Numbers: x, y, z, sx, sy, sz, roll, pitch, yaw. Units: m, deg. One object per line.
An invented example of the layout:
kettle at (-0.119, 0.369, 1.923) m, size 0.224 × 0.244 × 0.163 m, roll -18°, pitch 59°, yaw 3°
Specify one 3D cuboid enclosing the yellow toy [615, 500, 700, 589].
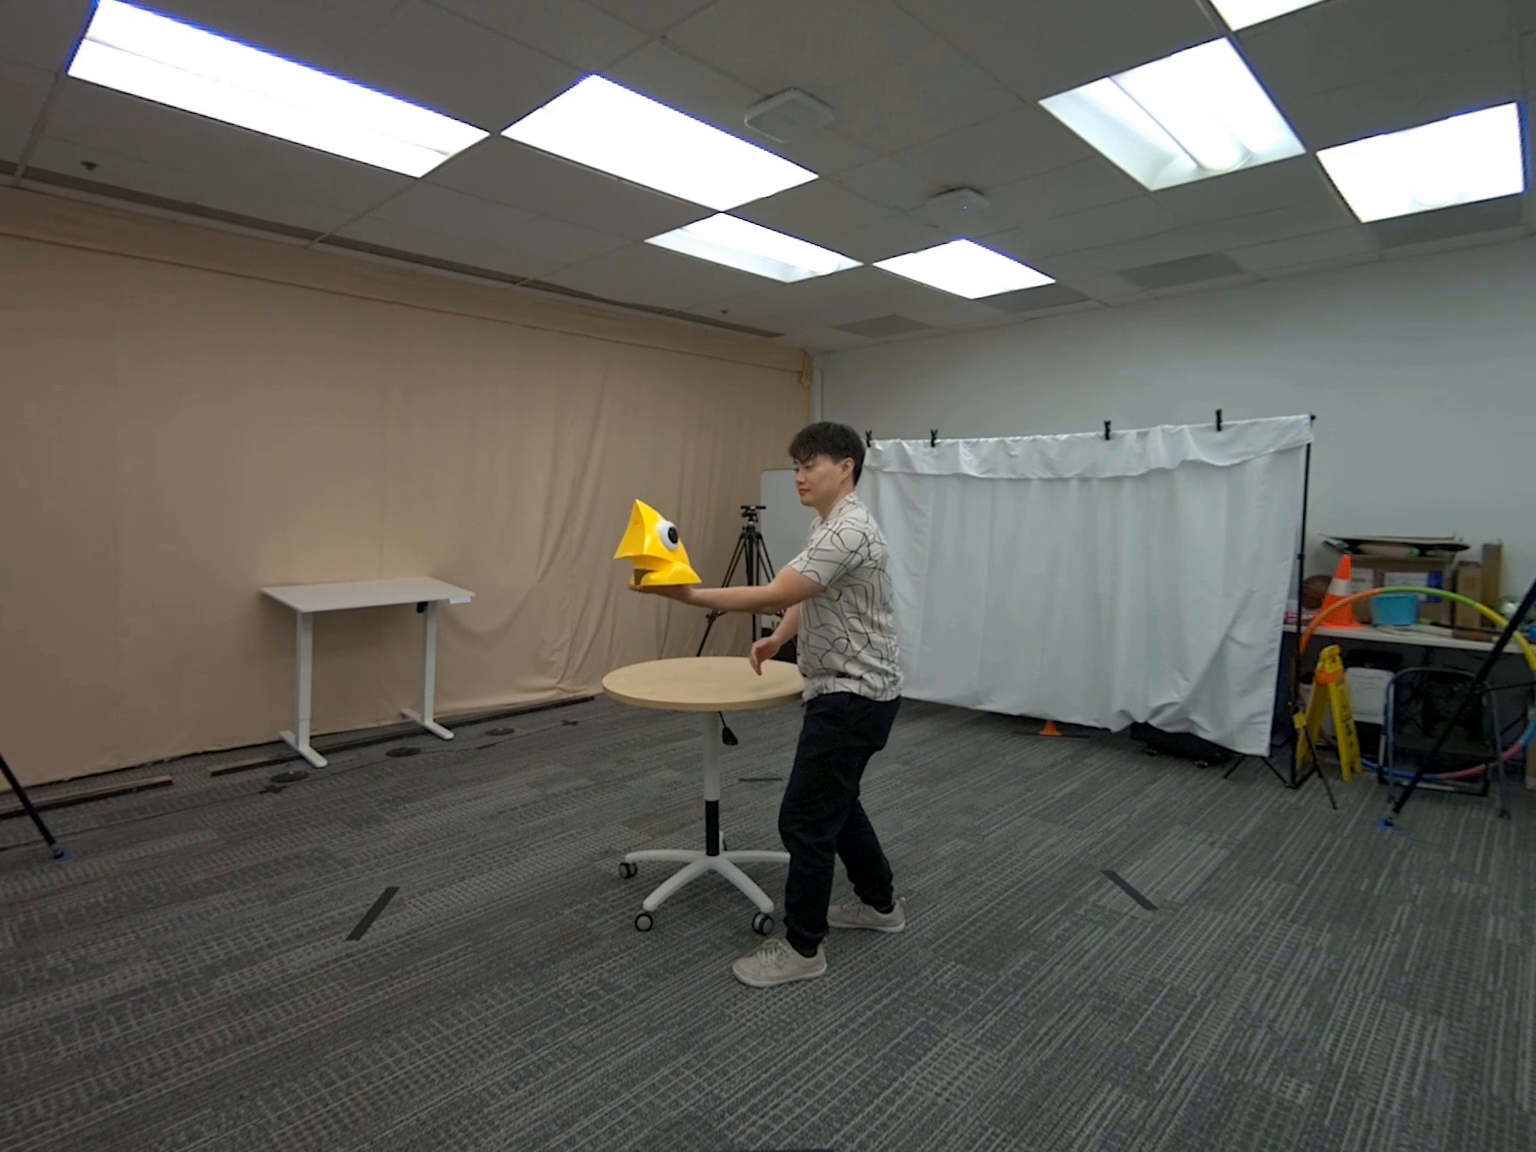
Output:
yellow toy at (-0.291, -0.088, 2.257) m, size 0.188 × 0.231 × 0.210 m, roll -2°, pitch -3°, yaw -30°
